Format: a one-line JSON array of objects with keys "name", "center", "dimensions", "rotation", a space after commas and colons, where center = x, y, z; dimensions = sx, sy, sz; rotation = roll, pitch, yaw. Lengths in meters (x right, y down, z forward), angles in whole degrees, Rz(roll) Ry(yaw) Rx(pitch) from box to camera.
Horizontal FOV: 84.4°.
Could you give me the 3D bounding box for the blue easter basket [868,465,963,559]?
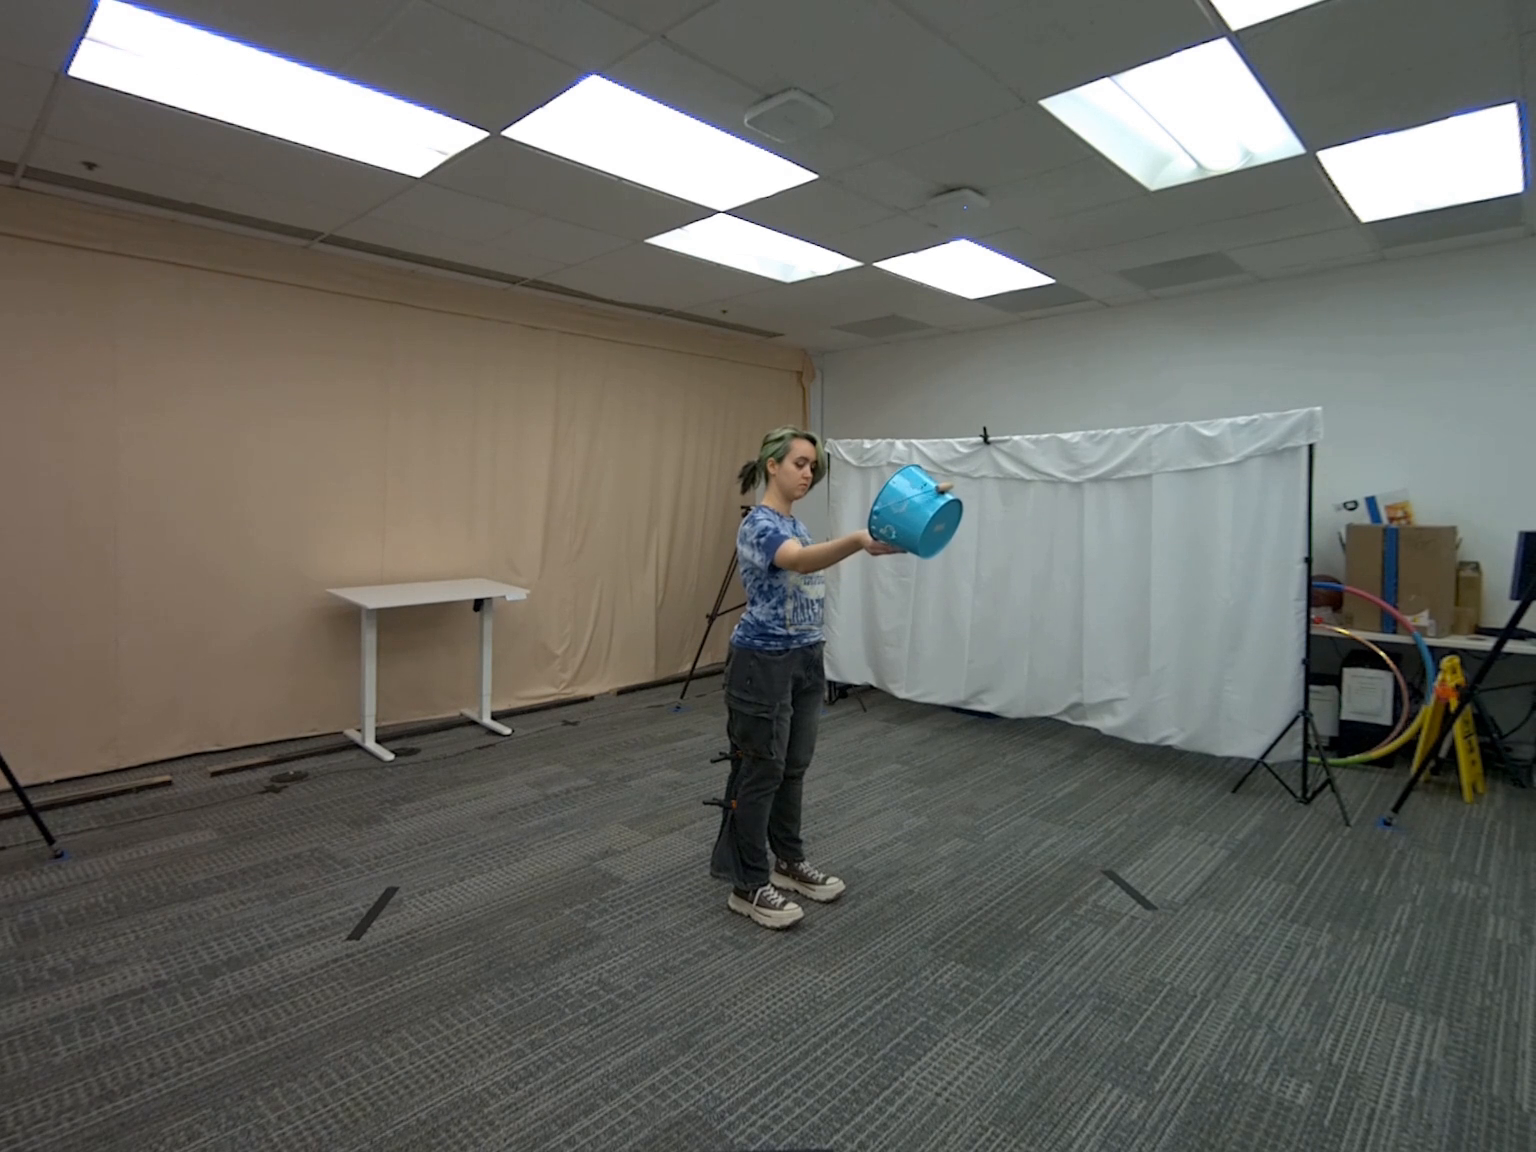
[{"name": "blue easter basket", "center": [0.402, -0.146, 2.234], "dimensions": [0.161, 0.243, 0.236], "rotation": [37, 26, 33]}]
